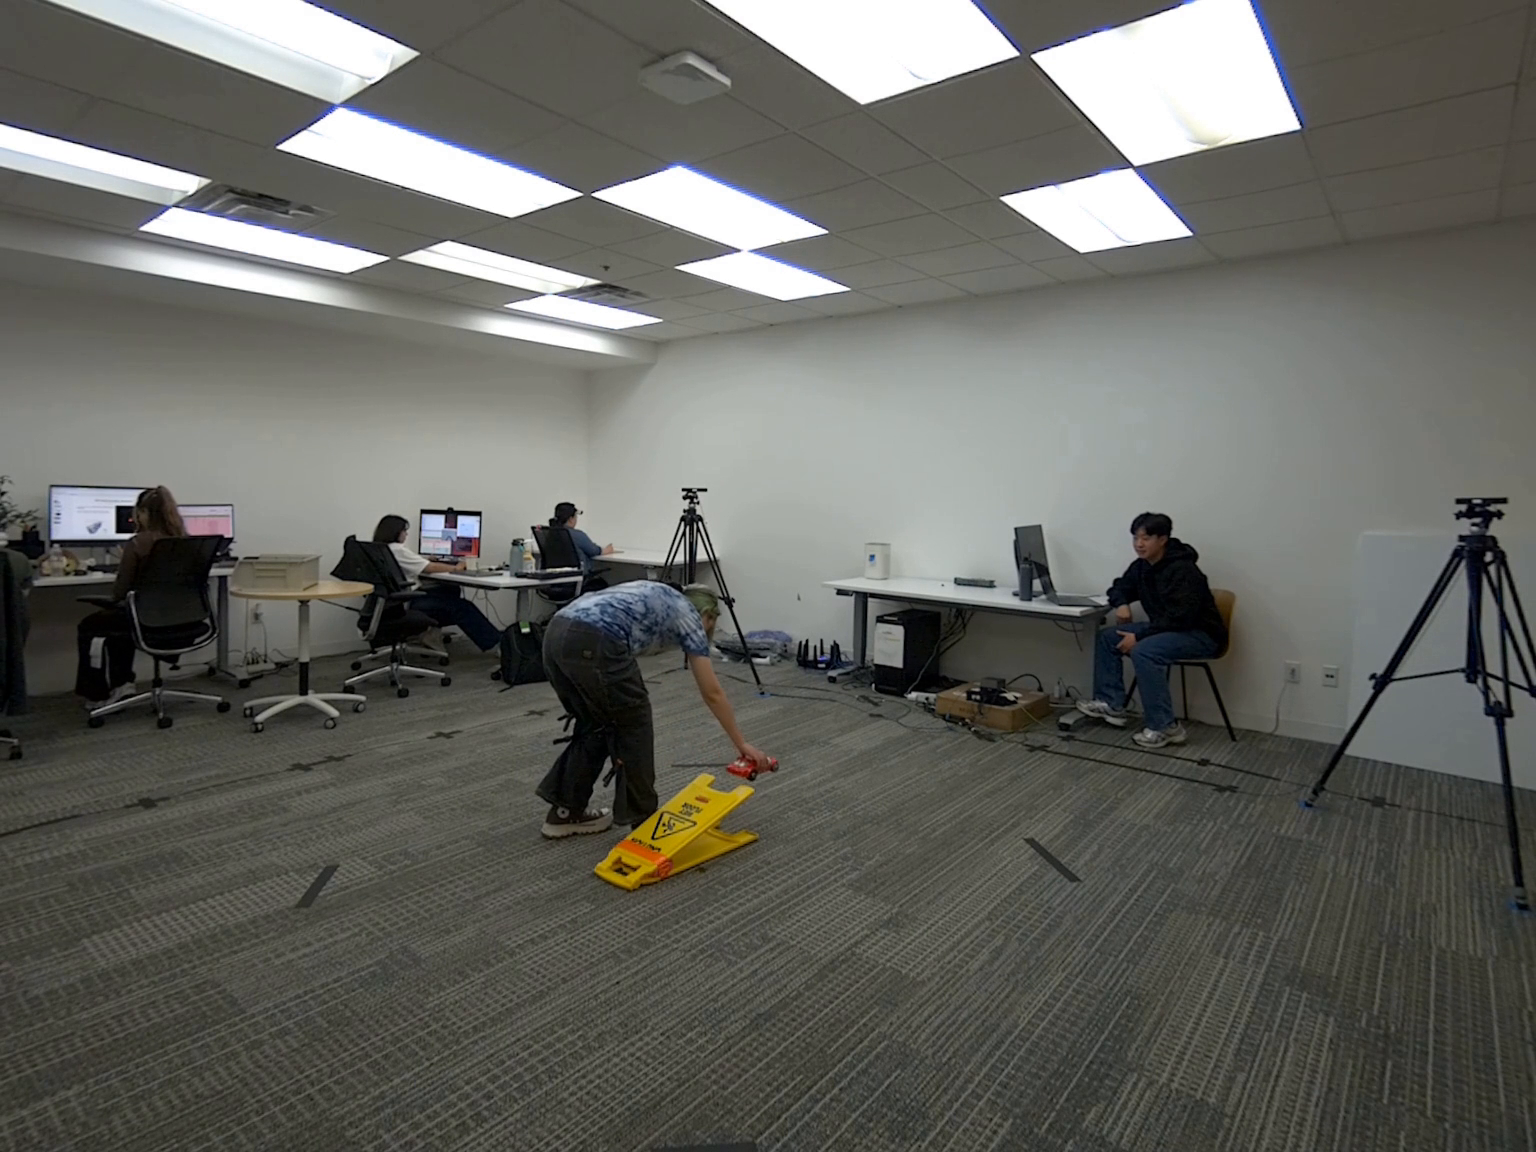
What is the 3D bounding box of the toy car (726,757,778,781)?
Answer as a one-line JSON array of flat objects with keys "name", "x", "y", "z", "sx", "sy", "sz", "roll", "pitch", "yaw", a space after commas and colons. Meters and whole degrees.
[{"name": "toy car", "x": -0.085, "y": 0.802, "z": 3.526, "sx": 0.135, "sy": 0.083, "sz": 0.245, "roll": 7, "pitch": -2, "yaw": 42}]
